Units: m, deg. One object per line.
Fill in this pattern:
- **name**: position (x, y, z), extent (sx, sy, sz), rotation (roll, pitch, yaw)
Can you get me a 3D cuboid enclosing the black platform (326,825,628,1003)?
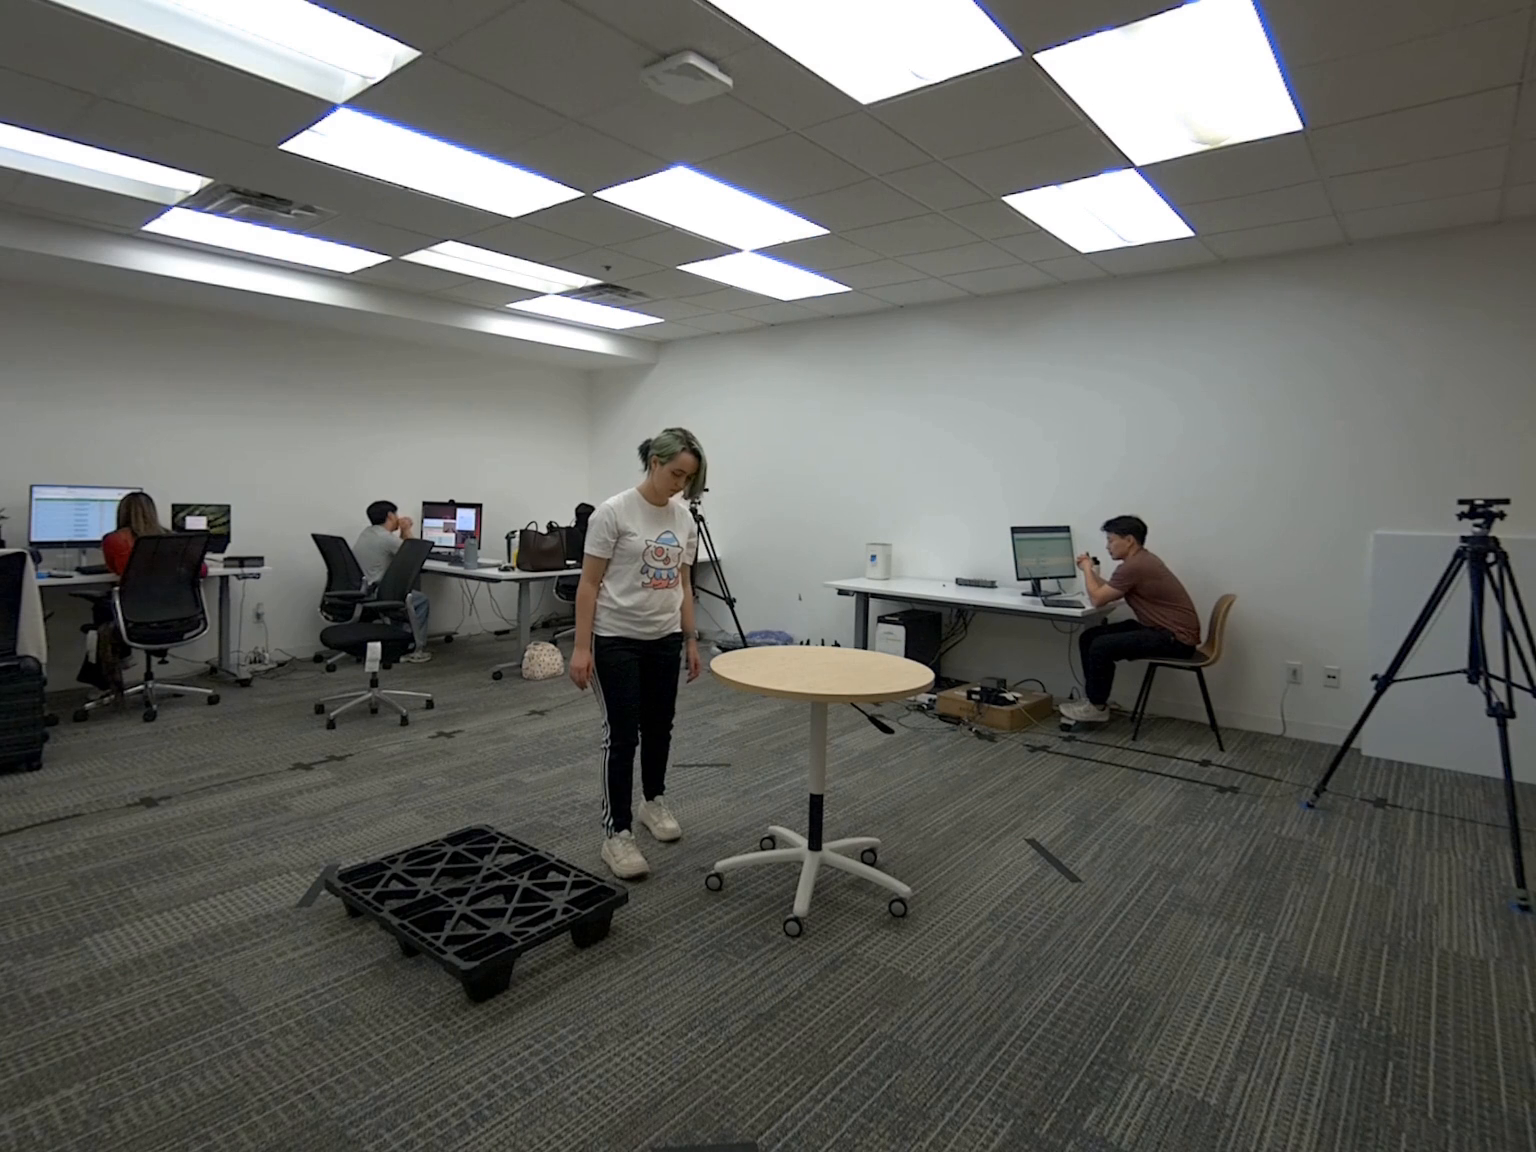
- **black platform**: position (-0.933, 1.034, 2.681), extent (0.832, 0.143, 0.588), rotation (5, 8, 39)
